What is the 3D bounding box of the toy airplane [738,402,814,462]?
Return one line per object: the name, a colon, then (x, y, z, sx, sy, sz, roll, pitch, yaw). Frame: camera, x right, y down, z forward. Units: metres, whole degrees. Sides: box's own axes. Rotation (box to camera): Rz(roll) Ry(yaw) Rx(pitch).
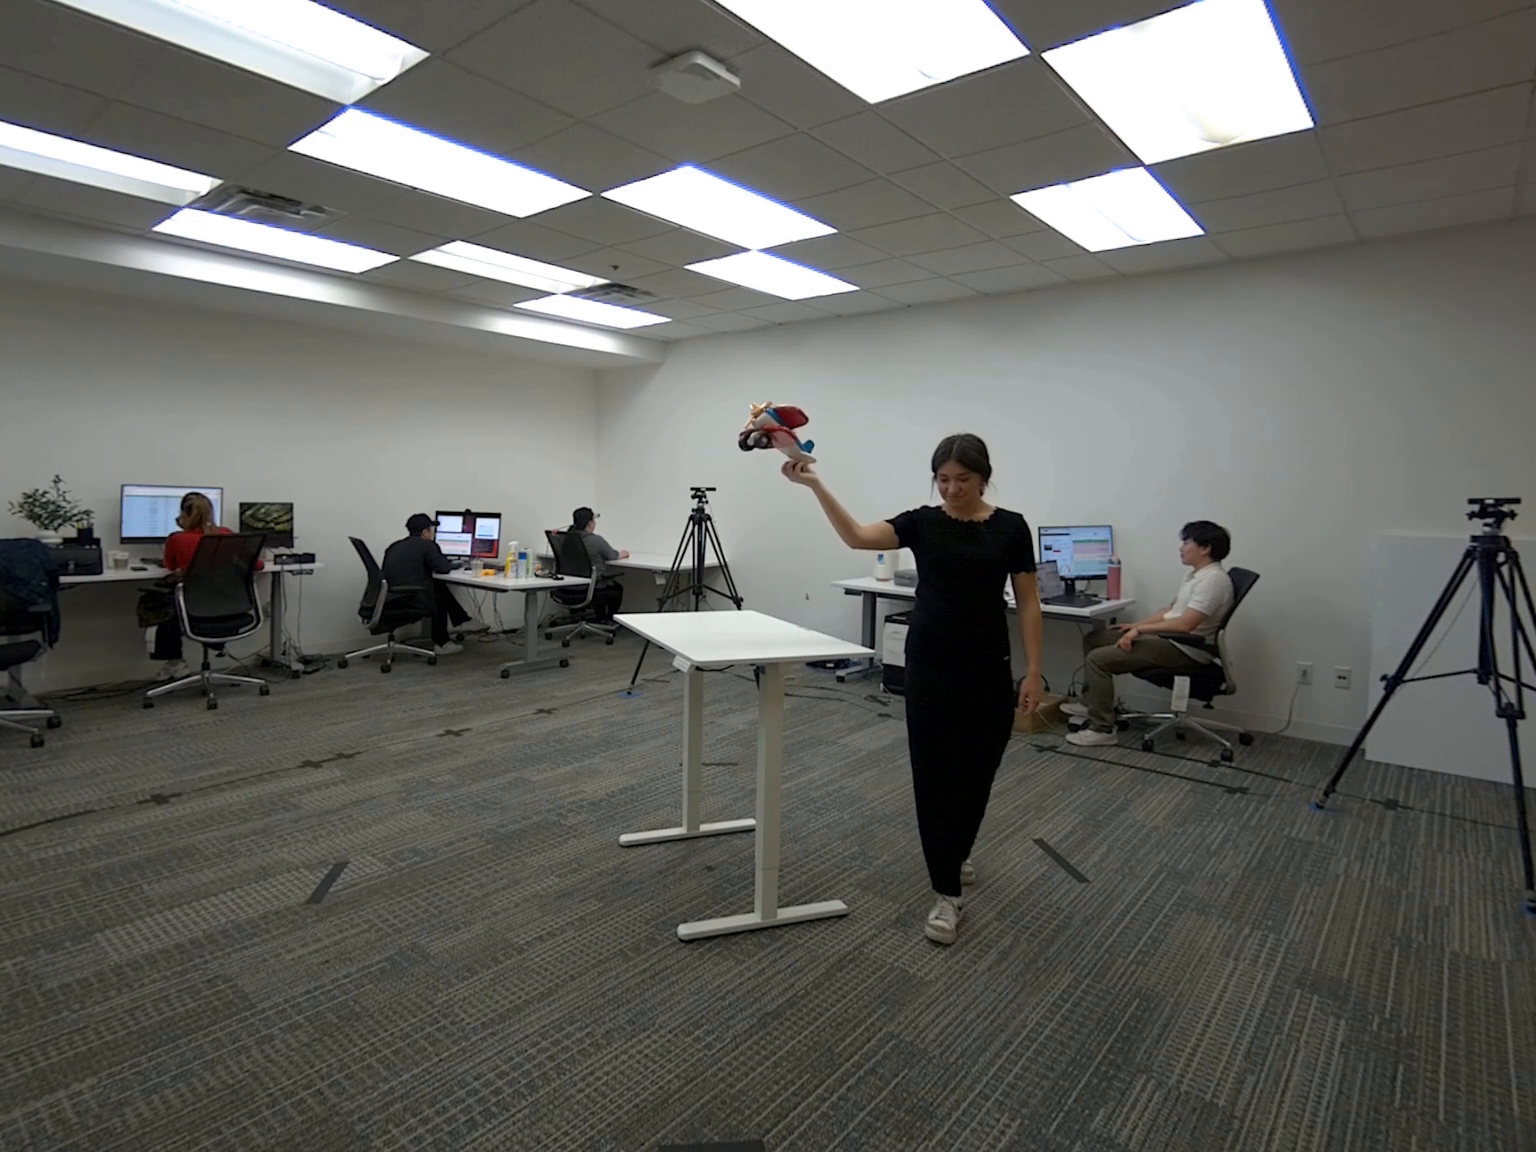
toy airplane: (0.022, -0.440, 2.723, 0.259, 0.157, 0.249, 14, -11, 28)
